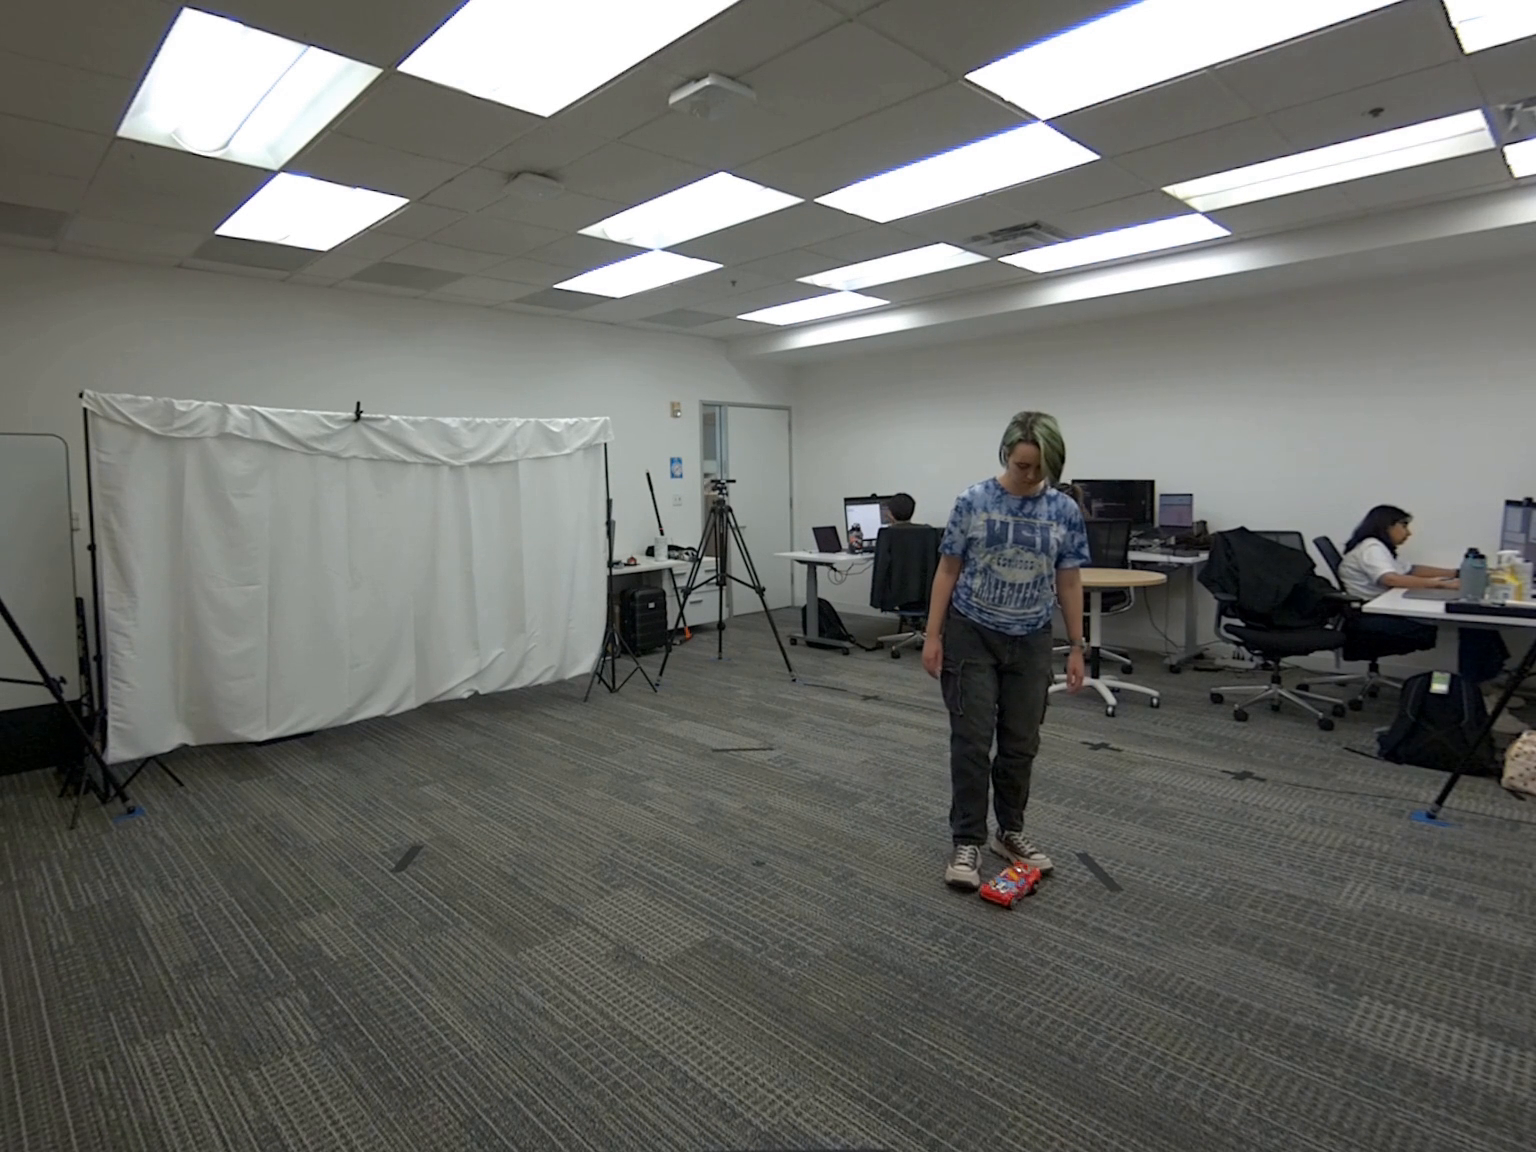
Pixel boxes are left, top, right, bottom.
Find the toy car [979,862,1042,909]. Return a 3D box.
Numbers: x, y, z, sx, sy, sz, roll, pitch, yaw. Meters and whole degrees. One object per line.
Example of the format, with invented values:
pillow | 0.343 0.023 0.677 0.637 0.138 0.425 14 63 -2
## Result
toy car | 0.816 1.028 2.848 0.134 0.082 0.250 4 20 45
